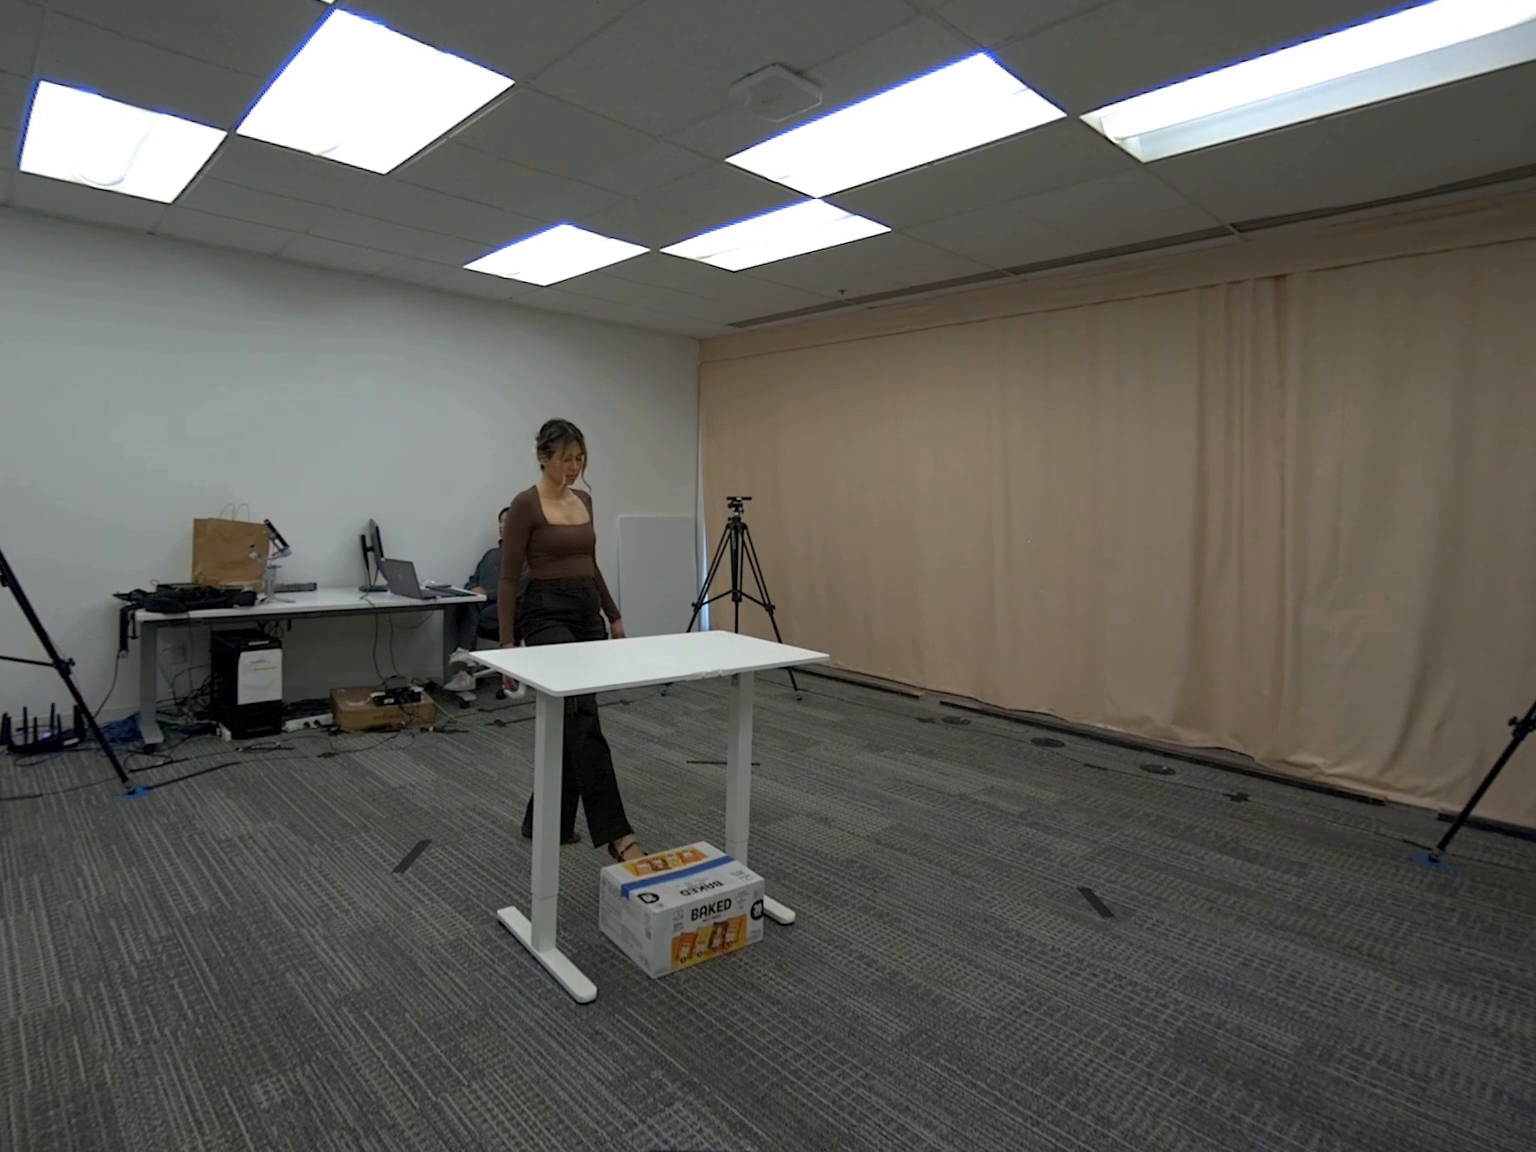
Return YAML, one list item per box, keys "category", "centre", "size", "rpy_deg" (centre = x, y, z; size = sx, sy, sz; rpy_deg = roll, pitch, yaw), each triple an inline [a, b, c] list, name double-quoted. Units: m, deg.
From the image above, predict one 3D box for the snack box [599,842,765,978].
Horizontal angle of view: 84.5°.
- category: "snack box"
  centre: [-0.280, 1.042, 2.660]
  size: [0.396, 0.205, 0.349]
  rpy_deg: [-2, 6, -37]
